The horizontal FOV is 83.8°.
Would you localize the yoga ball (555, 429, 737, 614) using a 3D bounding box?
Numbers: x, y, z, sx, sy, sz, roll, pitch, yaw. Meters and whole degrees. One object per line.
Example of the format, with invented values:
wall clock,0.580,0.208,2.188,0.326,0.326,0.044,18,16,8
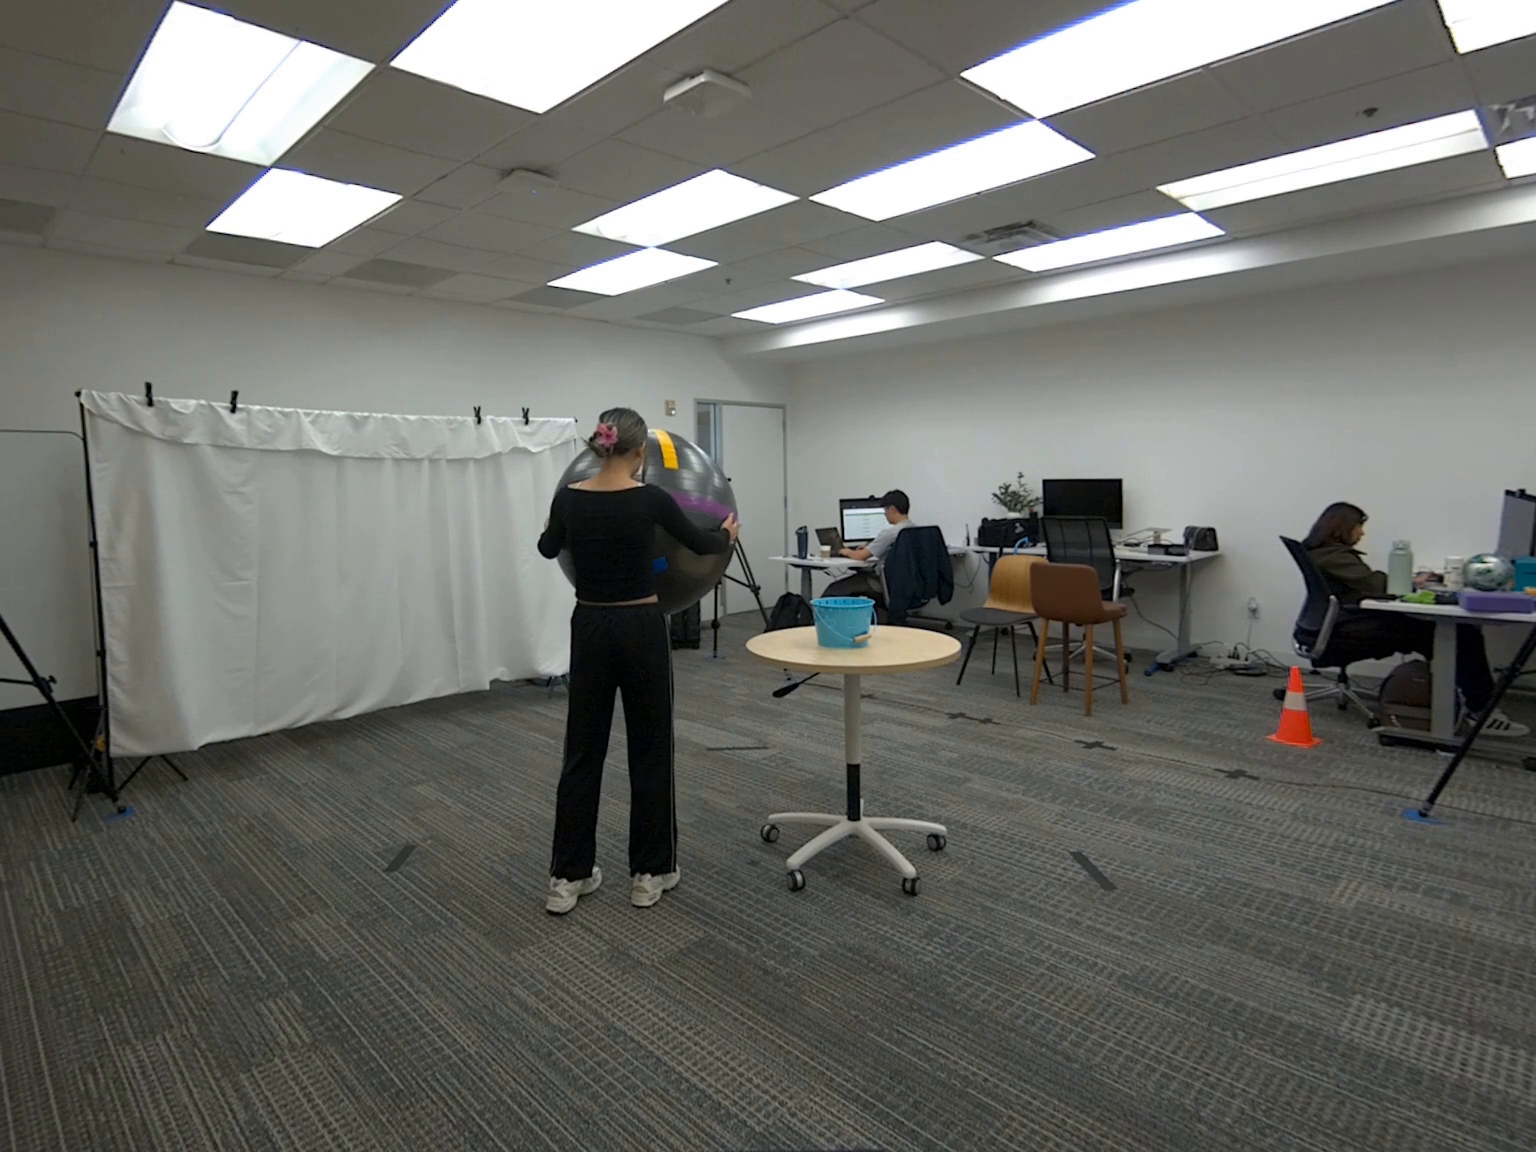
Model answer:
yoga ball,-0.500,-0.204,3.442,0.757,0.755,0.762,-1,5,-2
